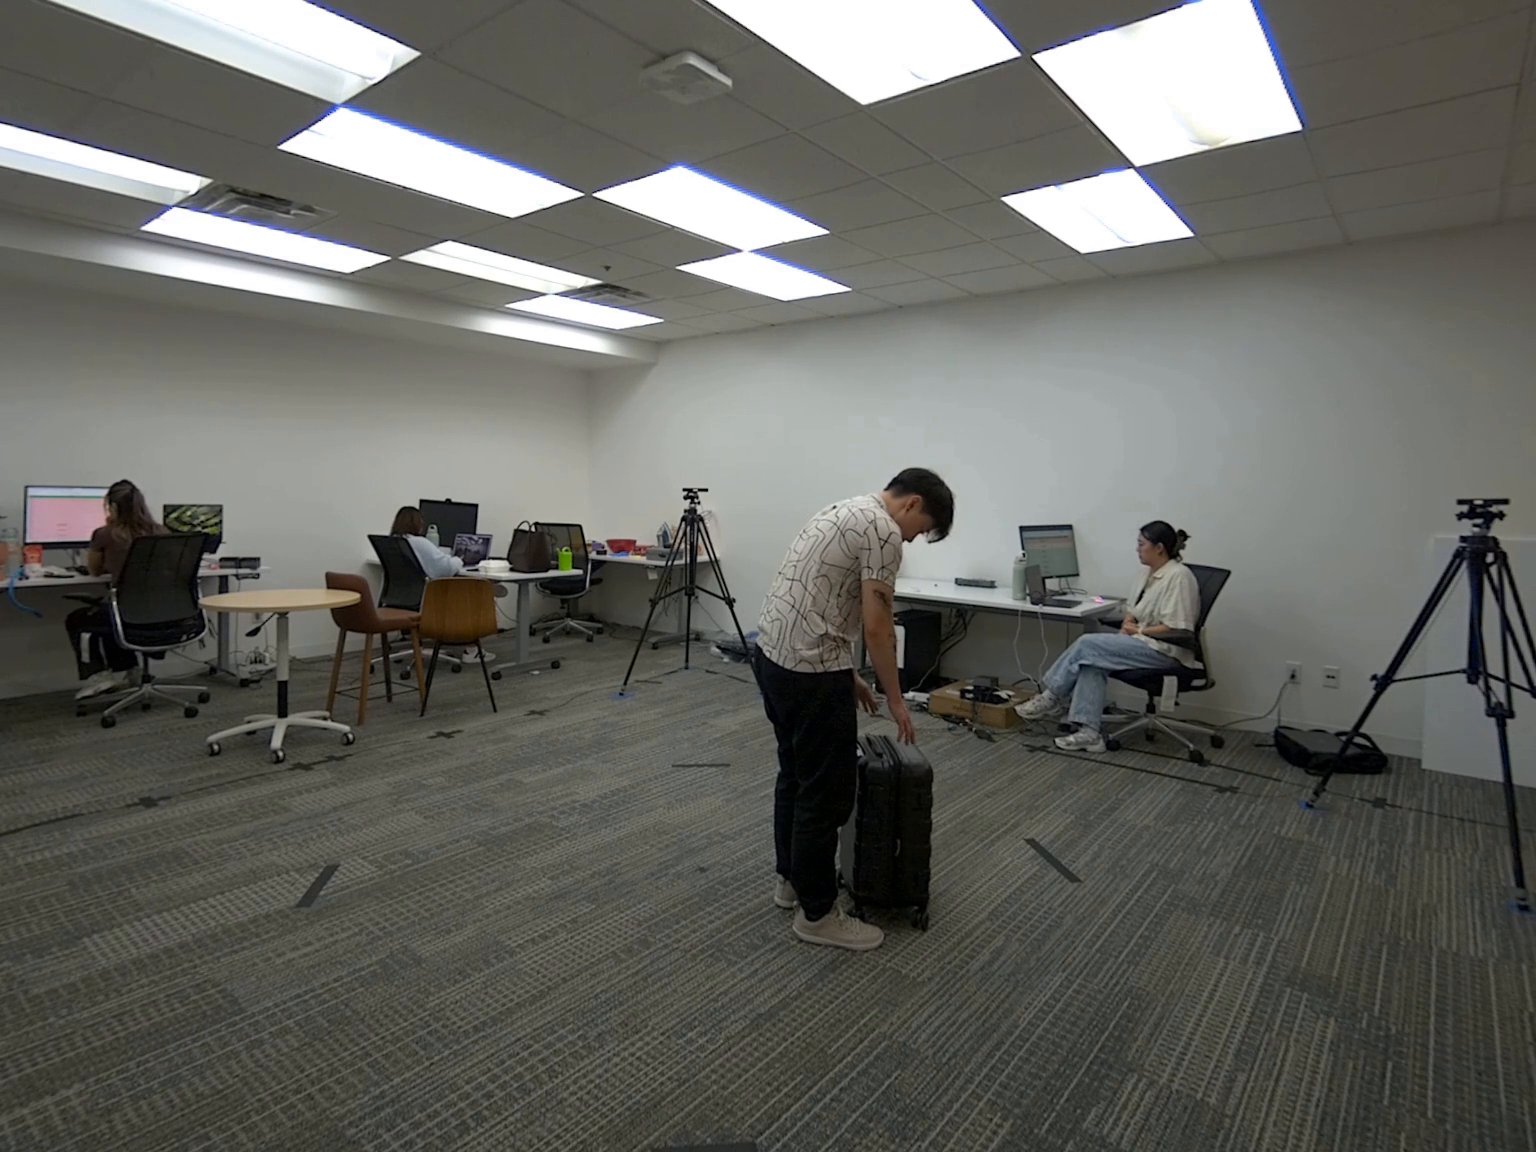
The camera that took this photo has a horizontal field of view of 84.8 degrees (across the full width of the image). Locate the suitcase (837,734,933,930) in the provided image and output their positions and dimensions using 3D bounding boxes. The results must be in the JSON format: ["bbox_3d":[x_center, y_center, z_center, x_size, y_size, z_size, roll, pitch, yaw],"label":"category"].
[{"bbox_3d":[0.397,0.832,2.880,0.248,0.548,0.377,3,2,-2],"label":"suitcase"}]
